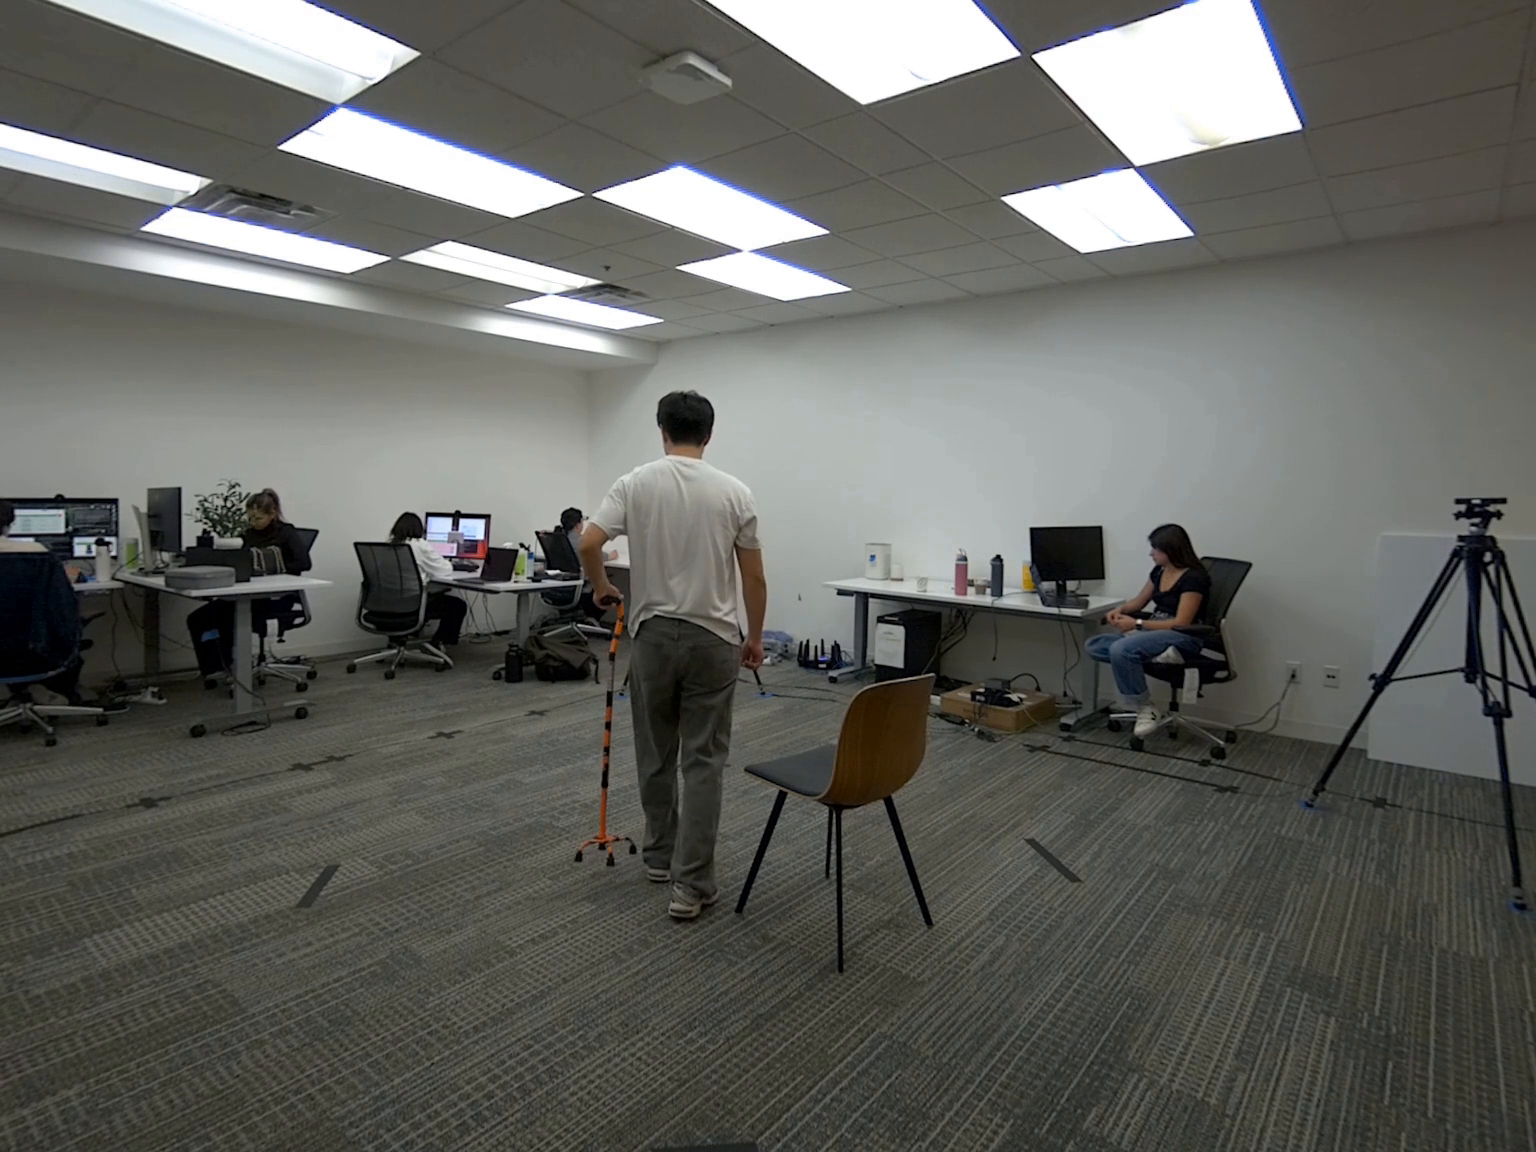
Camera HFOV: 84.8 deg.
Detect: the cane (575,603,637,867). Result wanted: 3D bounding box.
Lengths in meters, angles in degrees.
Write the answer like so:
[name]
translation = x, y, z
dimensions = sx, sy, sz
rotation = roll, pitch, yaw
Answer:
[cane]
translation = -0.555, 0.540, 3.035
dimensions = 0.154, 0.912, 0.202
rotation = 1, -5, 14
